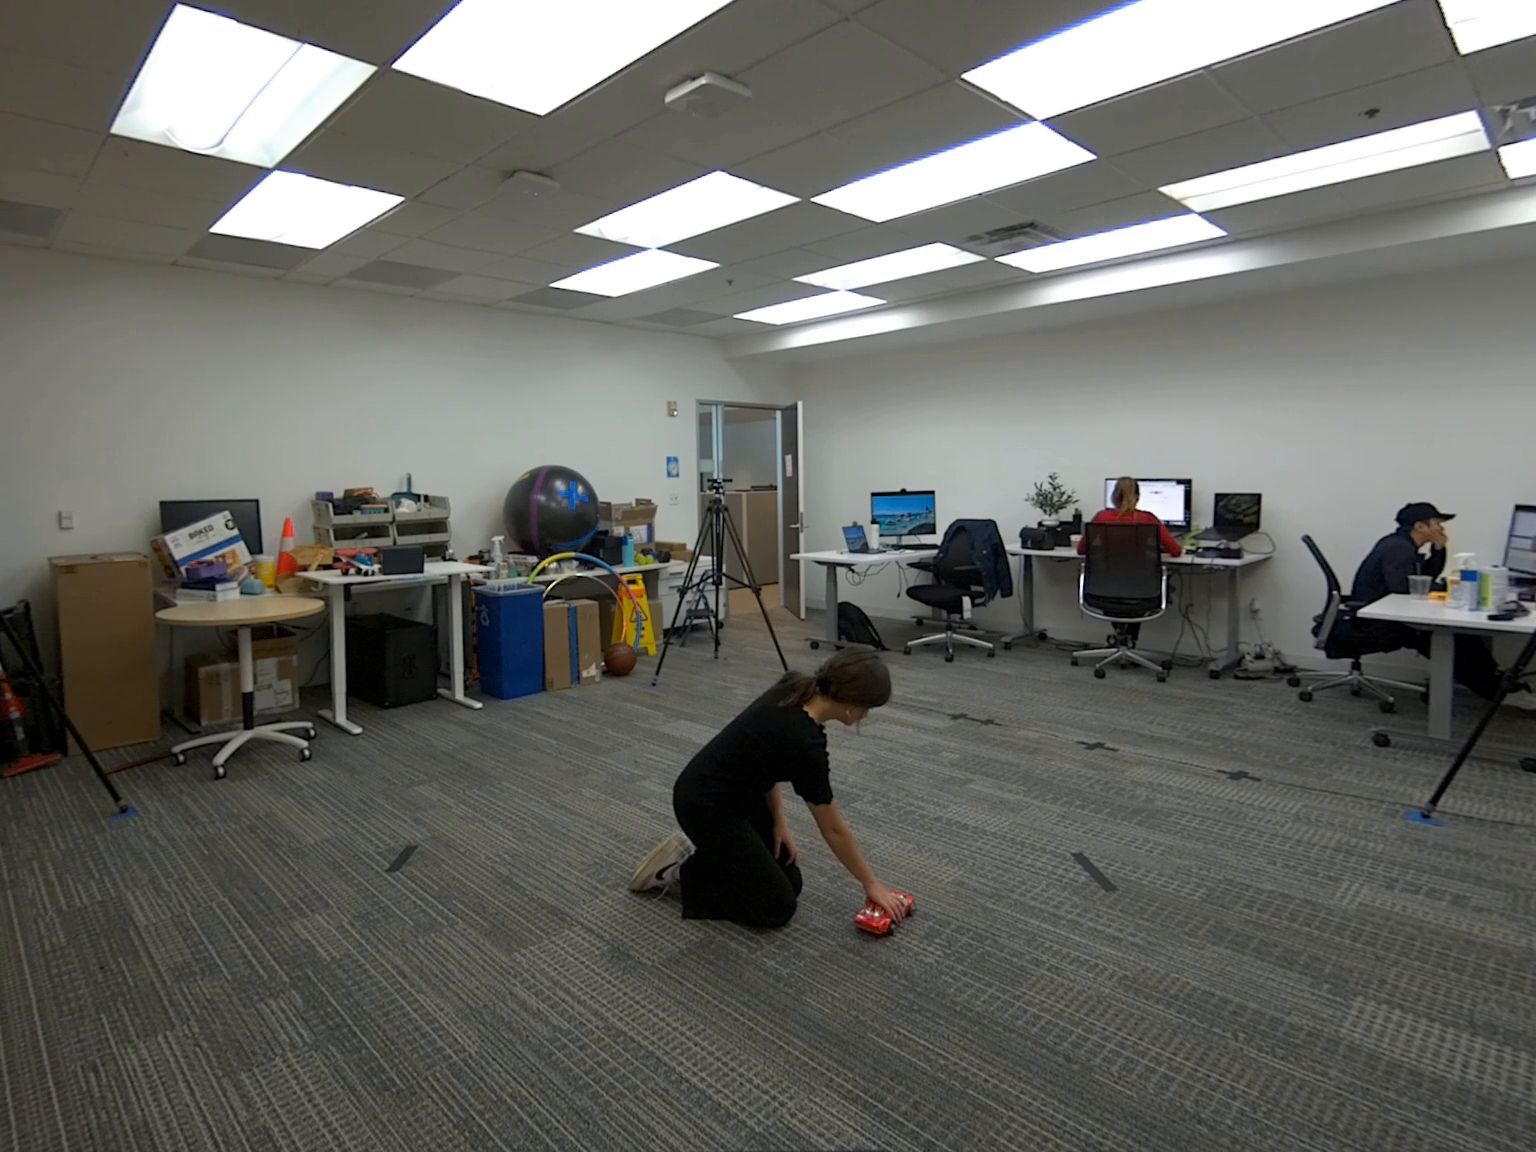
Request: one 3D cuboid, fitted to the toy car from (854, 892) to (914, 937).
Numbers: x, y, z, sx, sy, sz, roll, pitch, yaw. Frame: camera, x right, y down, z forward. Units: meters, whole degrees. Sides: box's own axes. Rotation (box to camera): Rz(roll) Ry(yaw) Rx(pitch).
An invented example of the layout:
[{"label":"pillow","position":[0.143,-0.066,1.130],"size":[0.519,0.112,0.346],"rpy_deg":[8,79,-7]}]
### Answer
[{"label":"toy car","position":[0.359,1.051,2.670],"size":[0.134,0.083,0.246],"rpy_deg":[5,-2,37]}]
